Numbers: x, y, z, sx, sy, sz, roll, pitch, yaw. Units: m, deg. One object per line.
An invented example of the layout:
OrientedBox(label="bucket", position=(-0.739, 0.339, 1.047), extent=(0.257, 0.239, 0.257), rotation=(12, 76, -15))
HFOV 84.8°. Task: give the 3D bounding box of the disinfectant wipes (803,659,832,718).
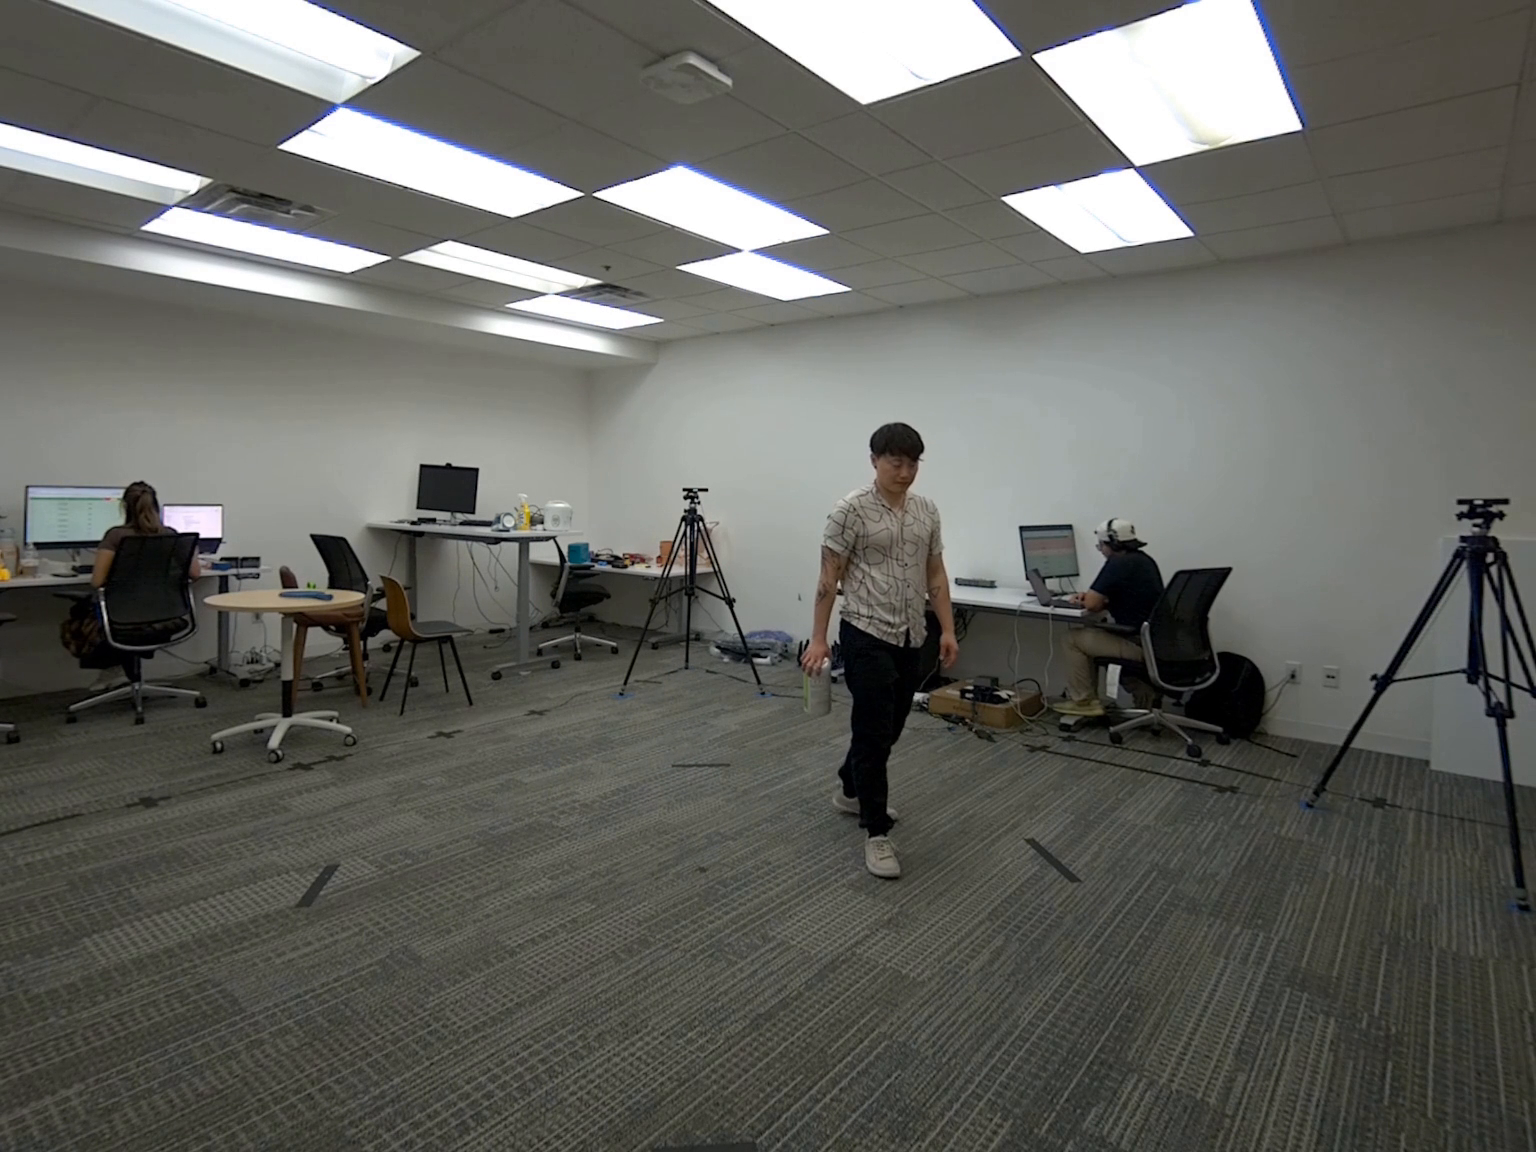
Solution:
OrientedBox(label="disinfectant wipes", position=(0.196, 0.431, 3.342), extent=(0.118, 0.214, 0.120), rotation=(-3, 18, -1))
